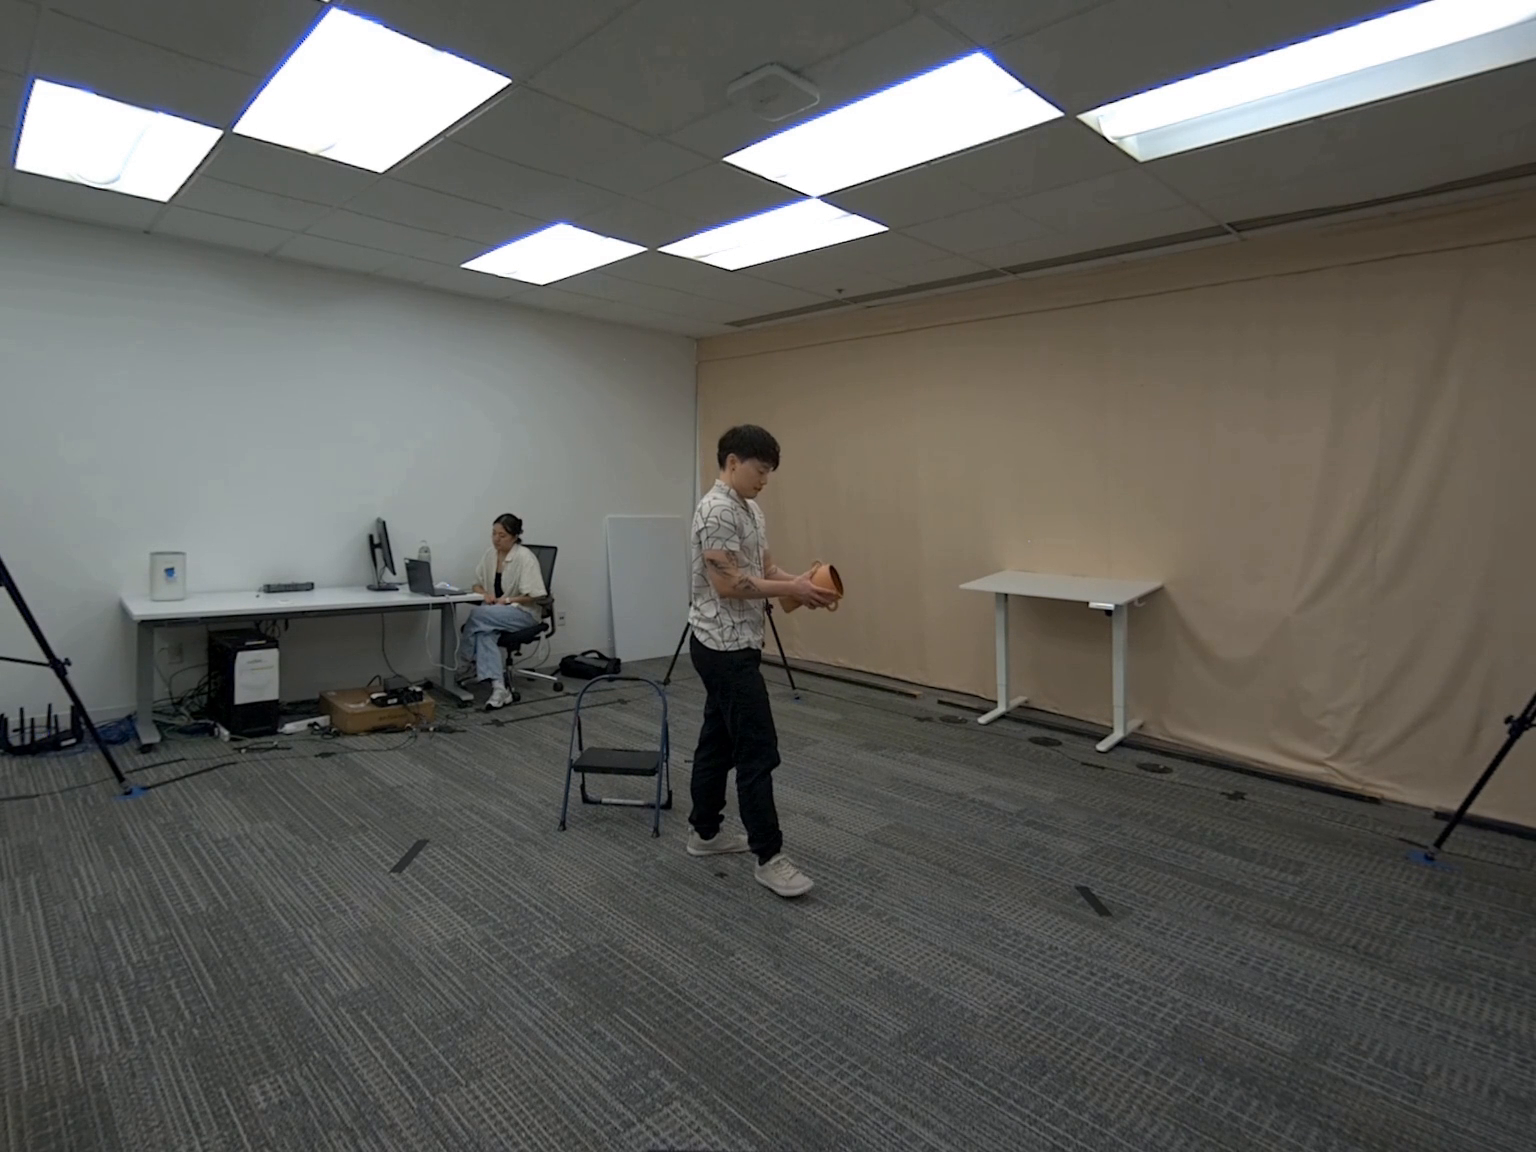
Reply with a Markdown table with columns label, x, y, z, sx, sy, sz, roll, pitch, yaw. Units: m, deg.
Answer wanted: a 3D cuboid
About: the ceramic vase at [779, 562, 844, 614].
| label | x | y | z | sx | sy | sz | roll | pitch | yaw |
| --- | --- | --- | --- | --- | --- | --- | --- | --- | --- |
| ceramic vase | 0.155 | 0.052 | 3.090 | 0.222 | 0.162 | 0.130 | -22 | -46 | 19 |
